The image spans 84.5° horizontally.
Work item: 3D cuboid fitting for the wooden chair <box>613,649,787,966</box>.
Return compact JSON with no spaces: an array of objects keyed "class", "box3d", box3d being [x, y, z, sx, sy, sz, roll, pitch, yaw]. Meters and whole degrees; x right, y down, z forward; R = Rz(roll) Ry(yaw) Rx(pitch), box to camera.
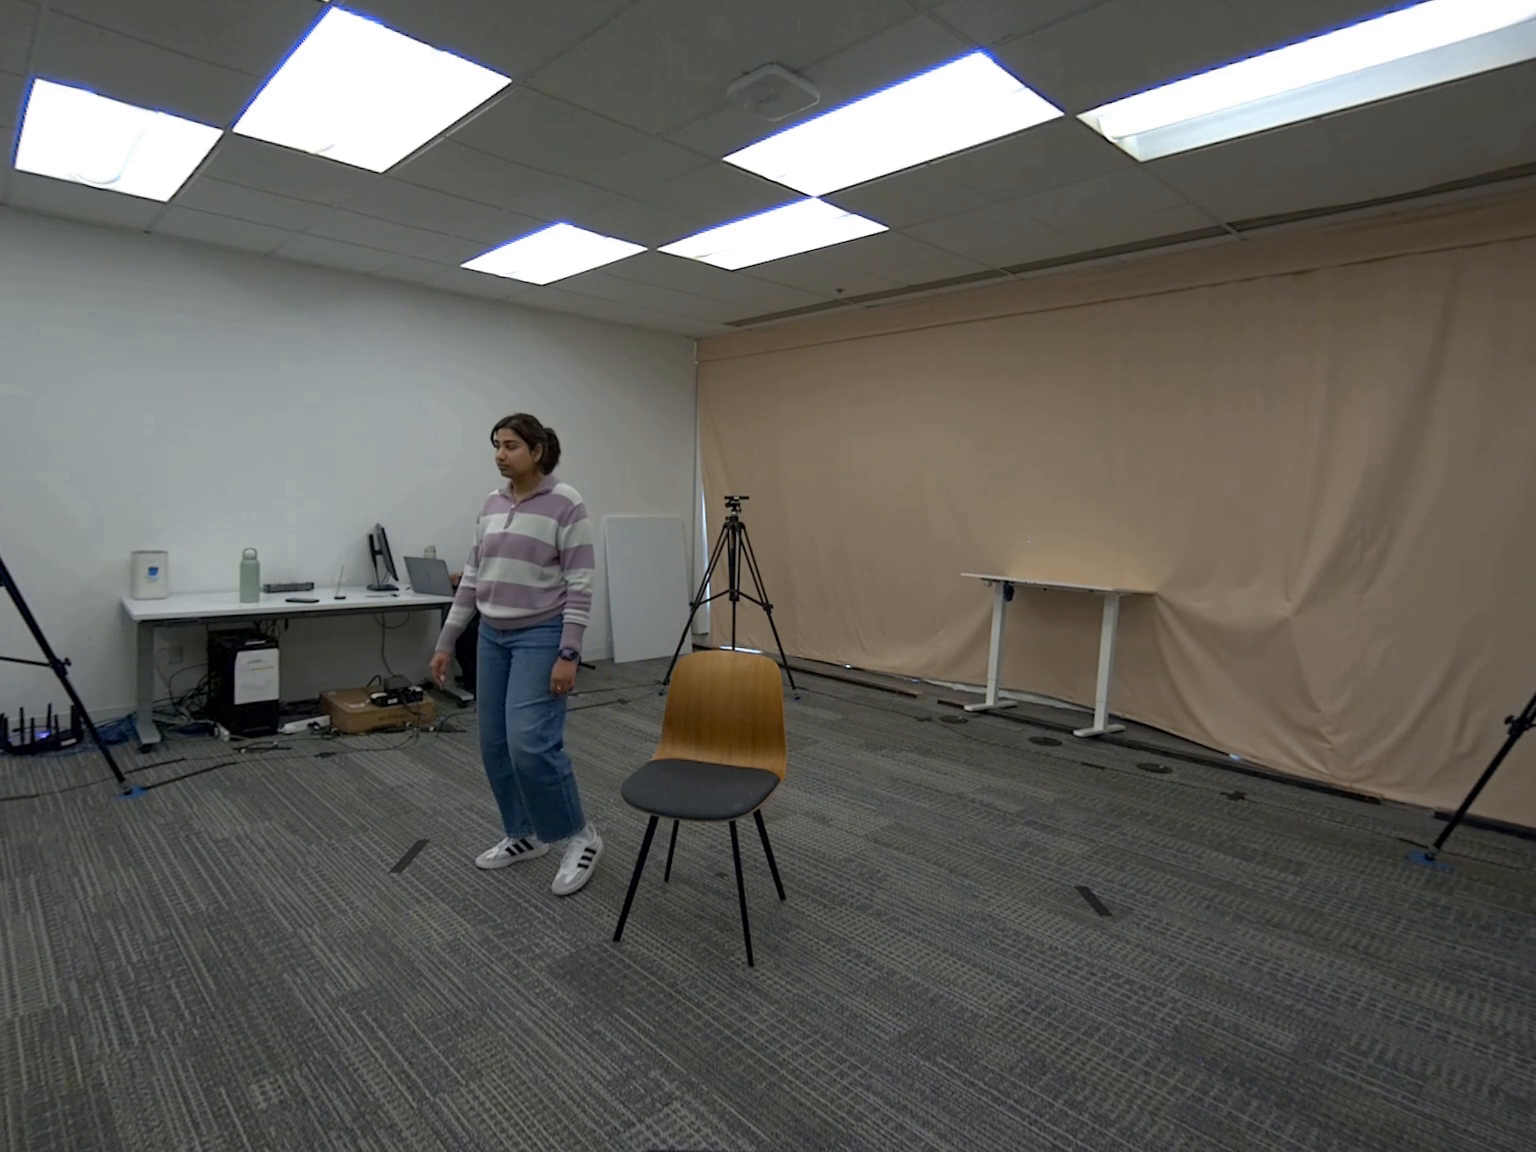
[{"class":"wooden chair","box3d":[-0.205,0.710,2.730,0.484,0.877,0.516,2,0,15]}]
